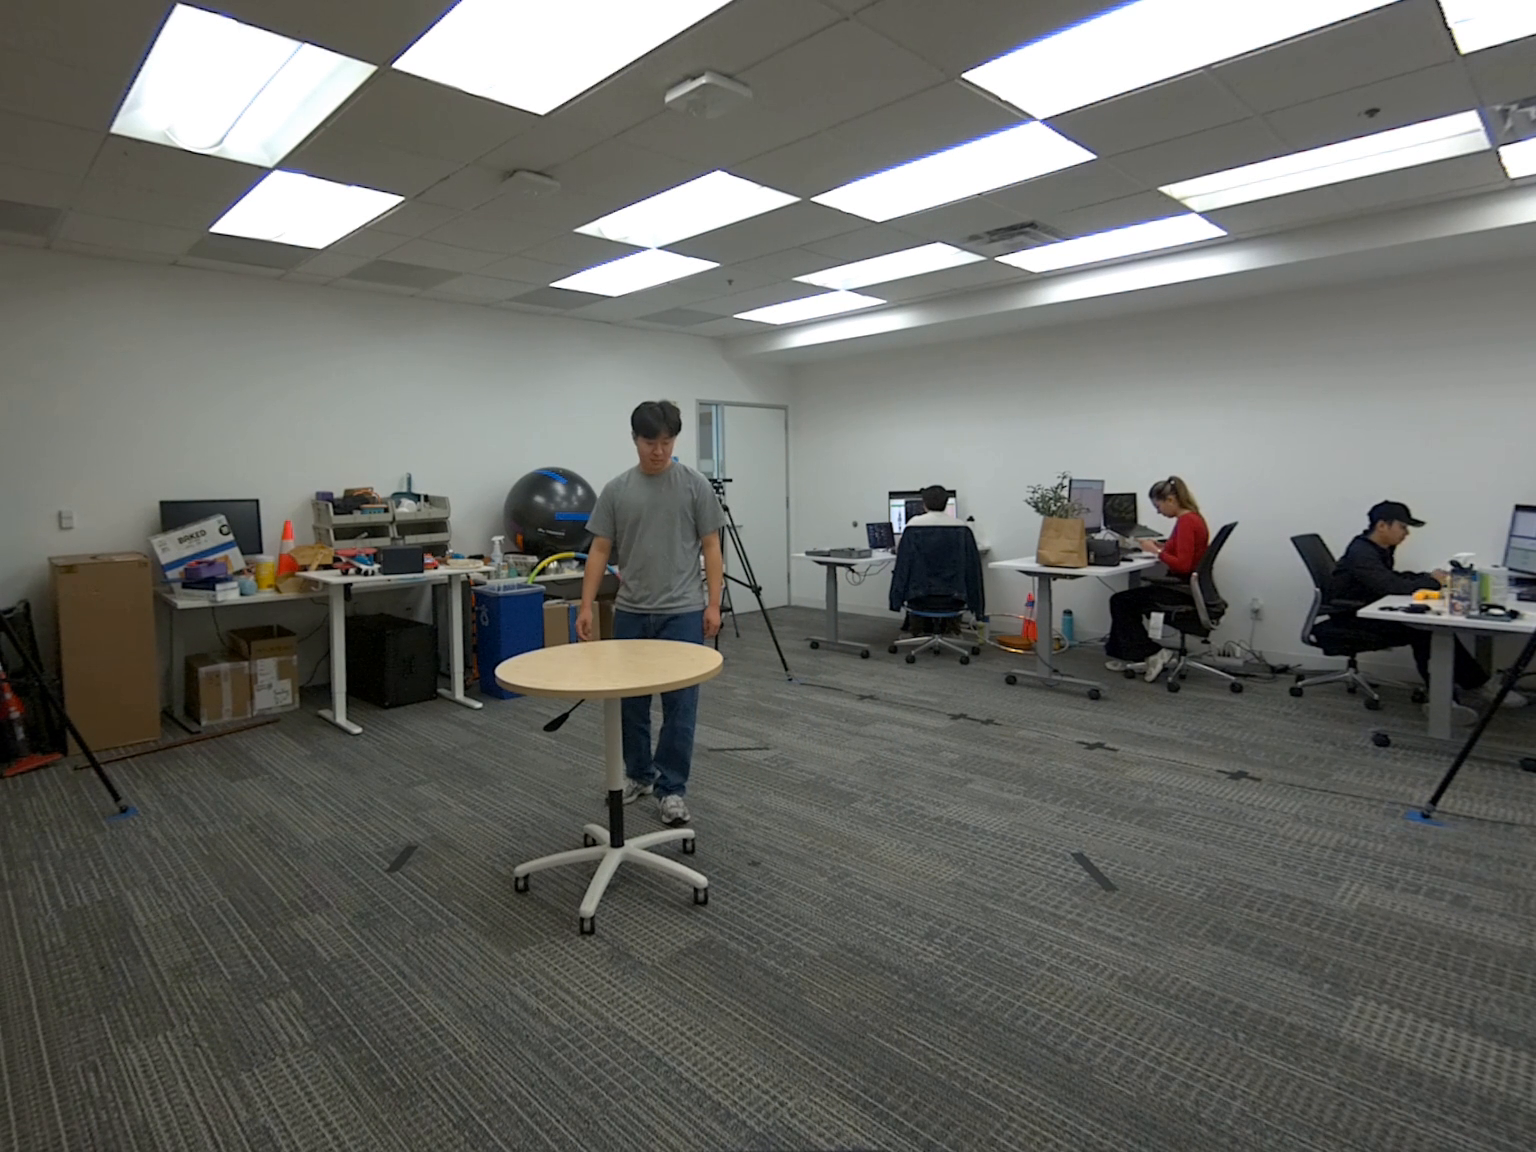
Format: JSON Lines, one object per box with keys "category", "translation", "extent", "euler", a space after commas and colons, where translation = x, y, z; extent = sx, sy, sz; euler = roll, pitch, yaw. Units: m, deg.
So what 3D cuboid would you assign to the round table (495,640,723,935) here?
{"category": "round table", "translation": [-0.533, 0.687, 2.943], "extent": [0.763, 0.790, 0.768], "euler": [-2, 5, -2]}
